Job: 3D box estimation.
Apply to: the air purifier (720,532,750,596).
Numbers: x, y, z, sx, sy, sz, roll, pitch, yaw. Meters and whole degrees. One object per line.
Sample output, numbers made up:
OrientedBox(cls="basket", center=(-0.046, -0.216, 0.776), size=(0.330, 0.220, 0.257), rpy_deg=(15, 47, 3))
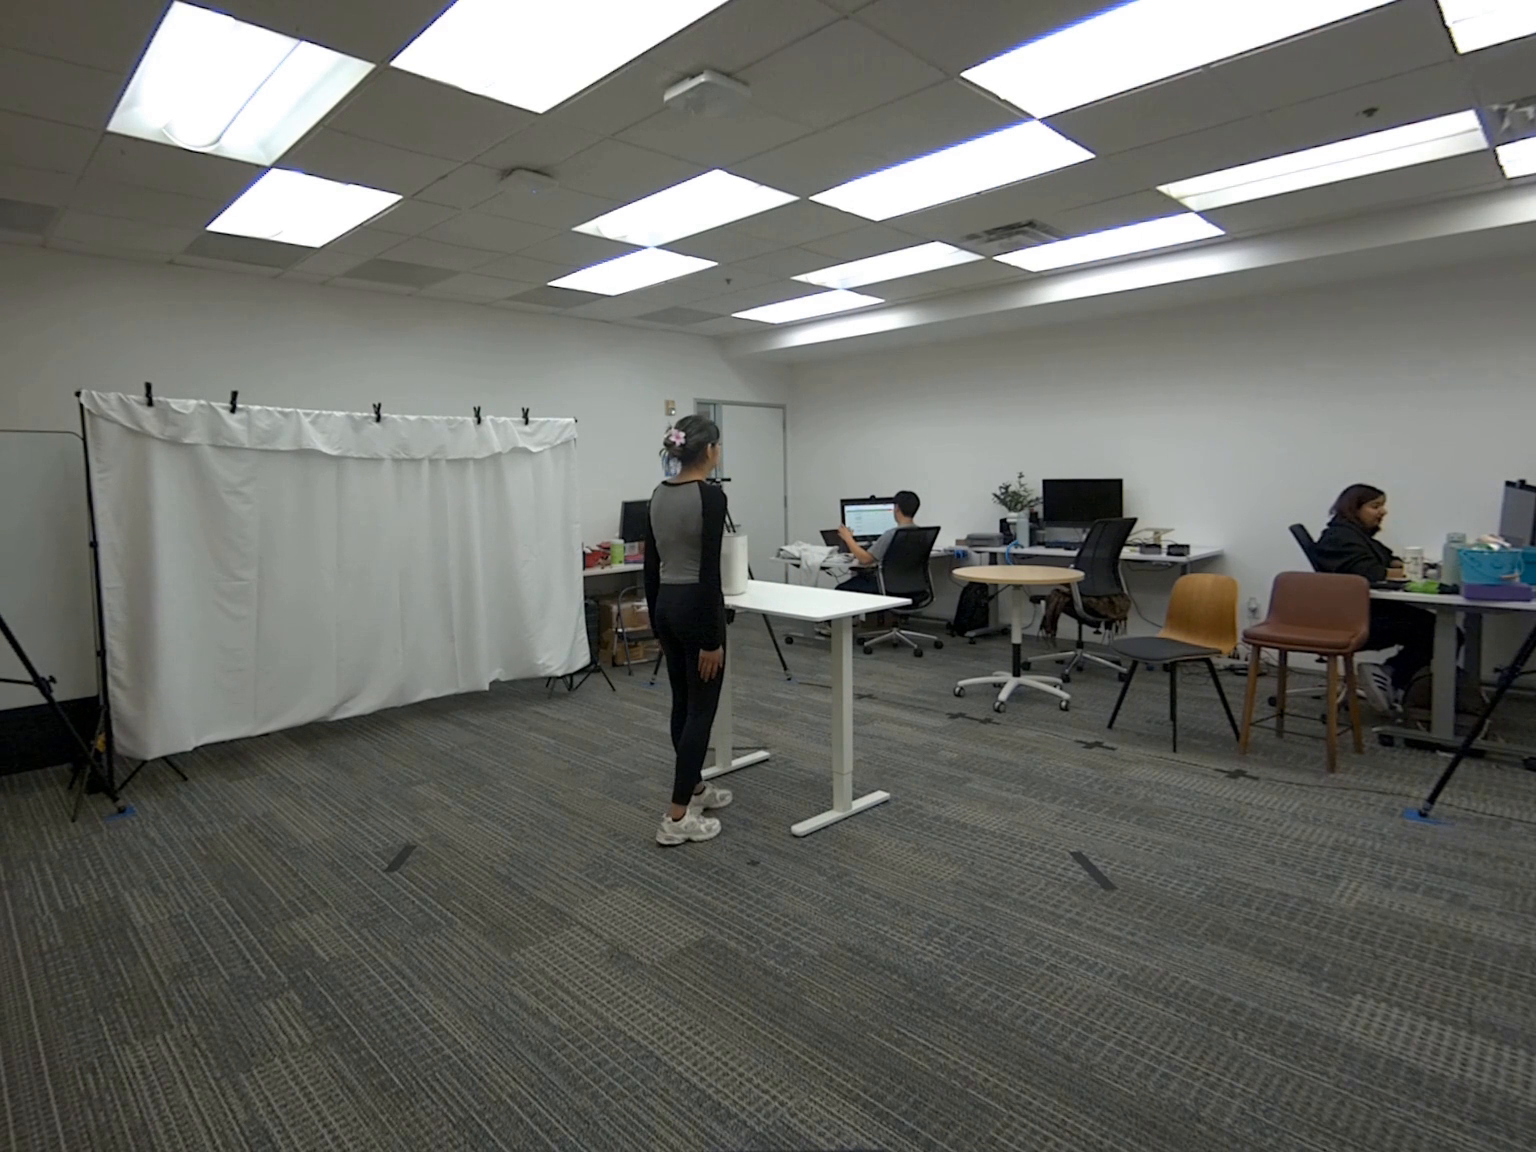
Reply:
OrientedBox(cls="air purifier", center=(-0.183, -0.054, 3.834), size=(0.174, 0.264, 0.169), rpy_deg=(0, 5, 18))
